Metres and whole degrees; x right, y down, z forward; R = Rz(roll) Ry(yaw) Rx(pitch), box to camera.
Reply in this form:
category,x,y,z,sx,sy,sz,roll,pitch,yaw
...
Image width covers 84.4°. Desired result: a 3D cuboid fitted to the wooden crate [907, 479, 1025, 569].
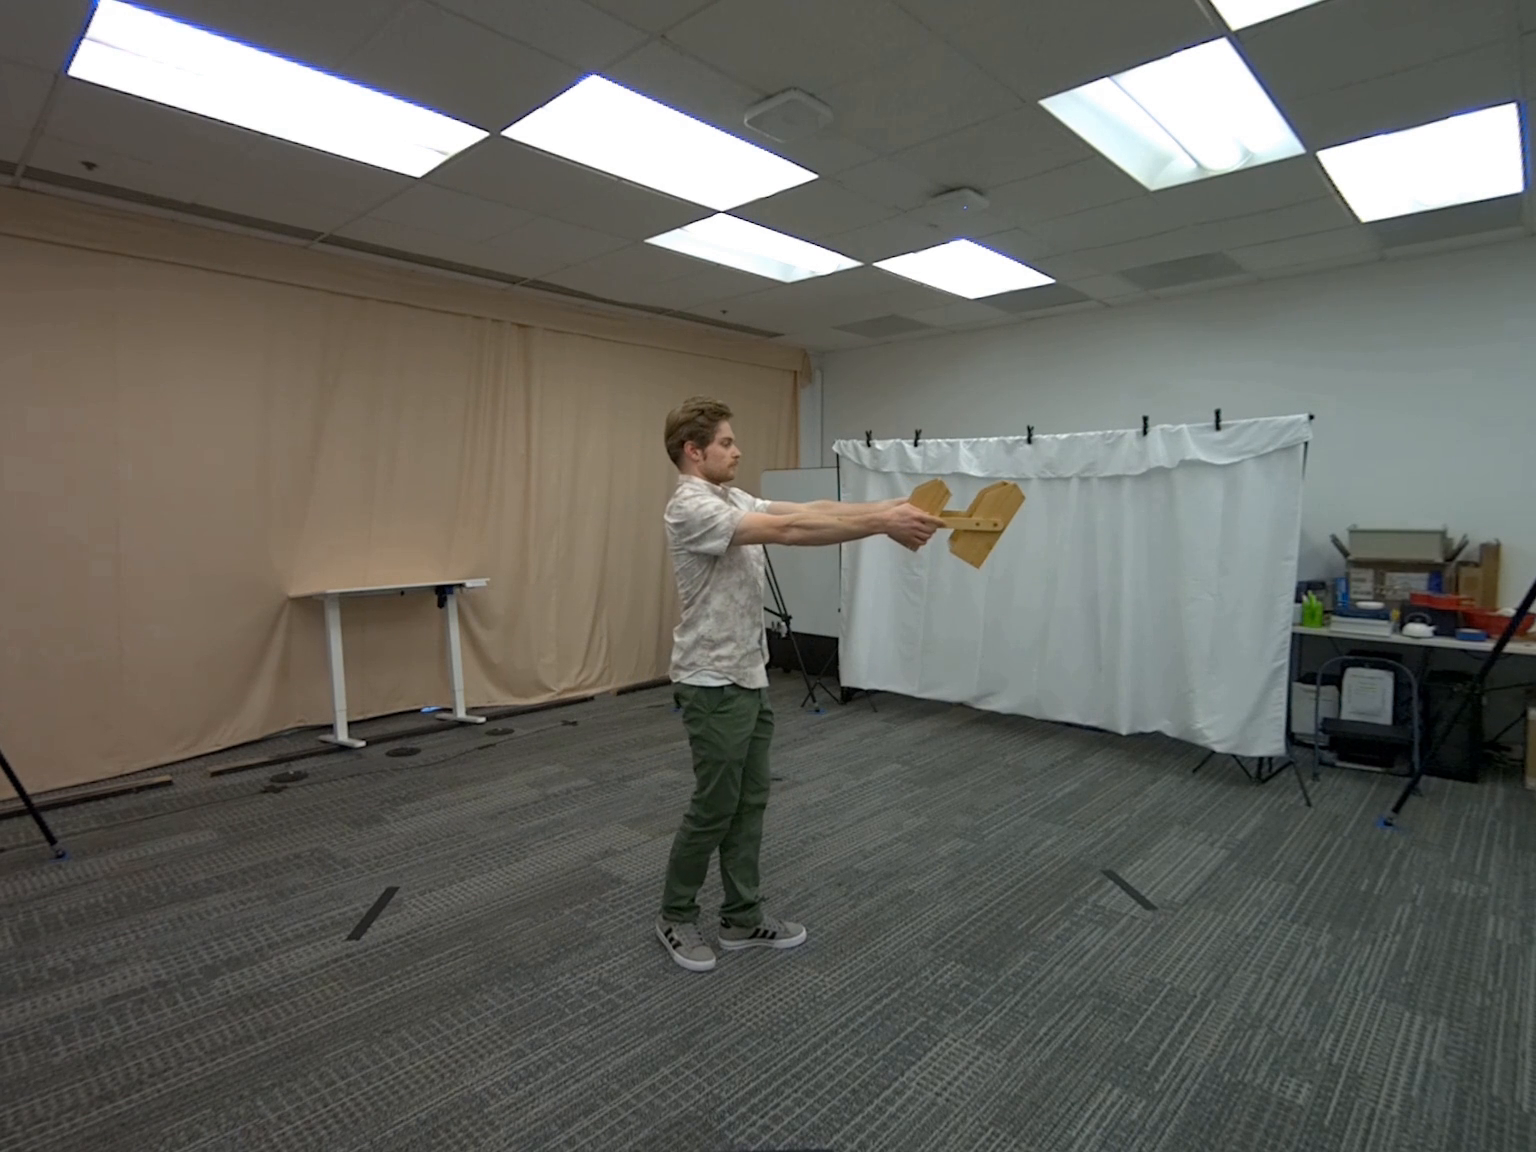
category,x,y,z,sx,sy,sz,roll,pitch,yaw
wooden crate,0.558,-0.192,2.434,0.276,0.302,0.321,32,11,7
